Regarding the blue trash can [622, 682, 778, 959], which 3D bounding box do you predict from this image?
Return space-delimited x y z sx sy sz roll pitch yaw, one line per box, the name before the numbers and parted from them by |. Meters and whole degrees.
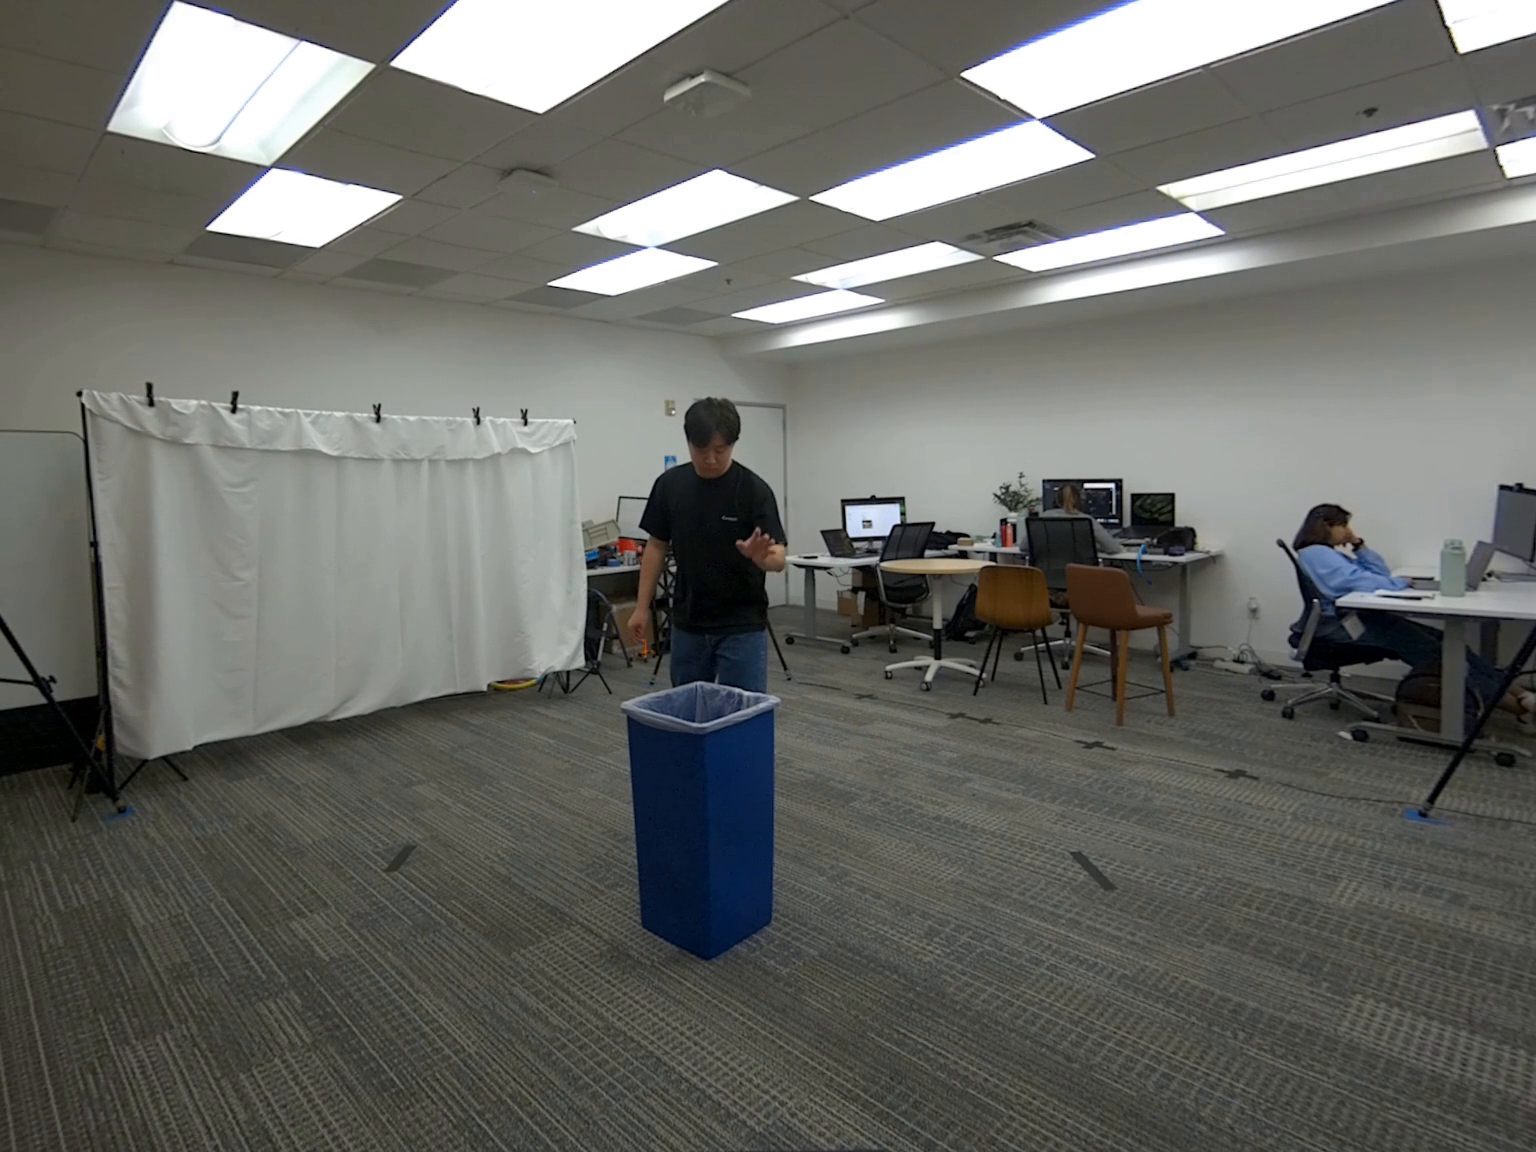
blue trash can | -0.200 0.744 2.654 0.389 0.711 0.364 2 5 41
